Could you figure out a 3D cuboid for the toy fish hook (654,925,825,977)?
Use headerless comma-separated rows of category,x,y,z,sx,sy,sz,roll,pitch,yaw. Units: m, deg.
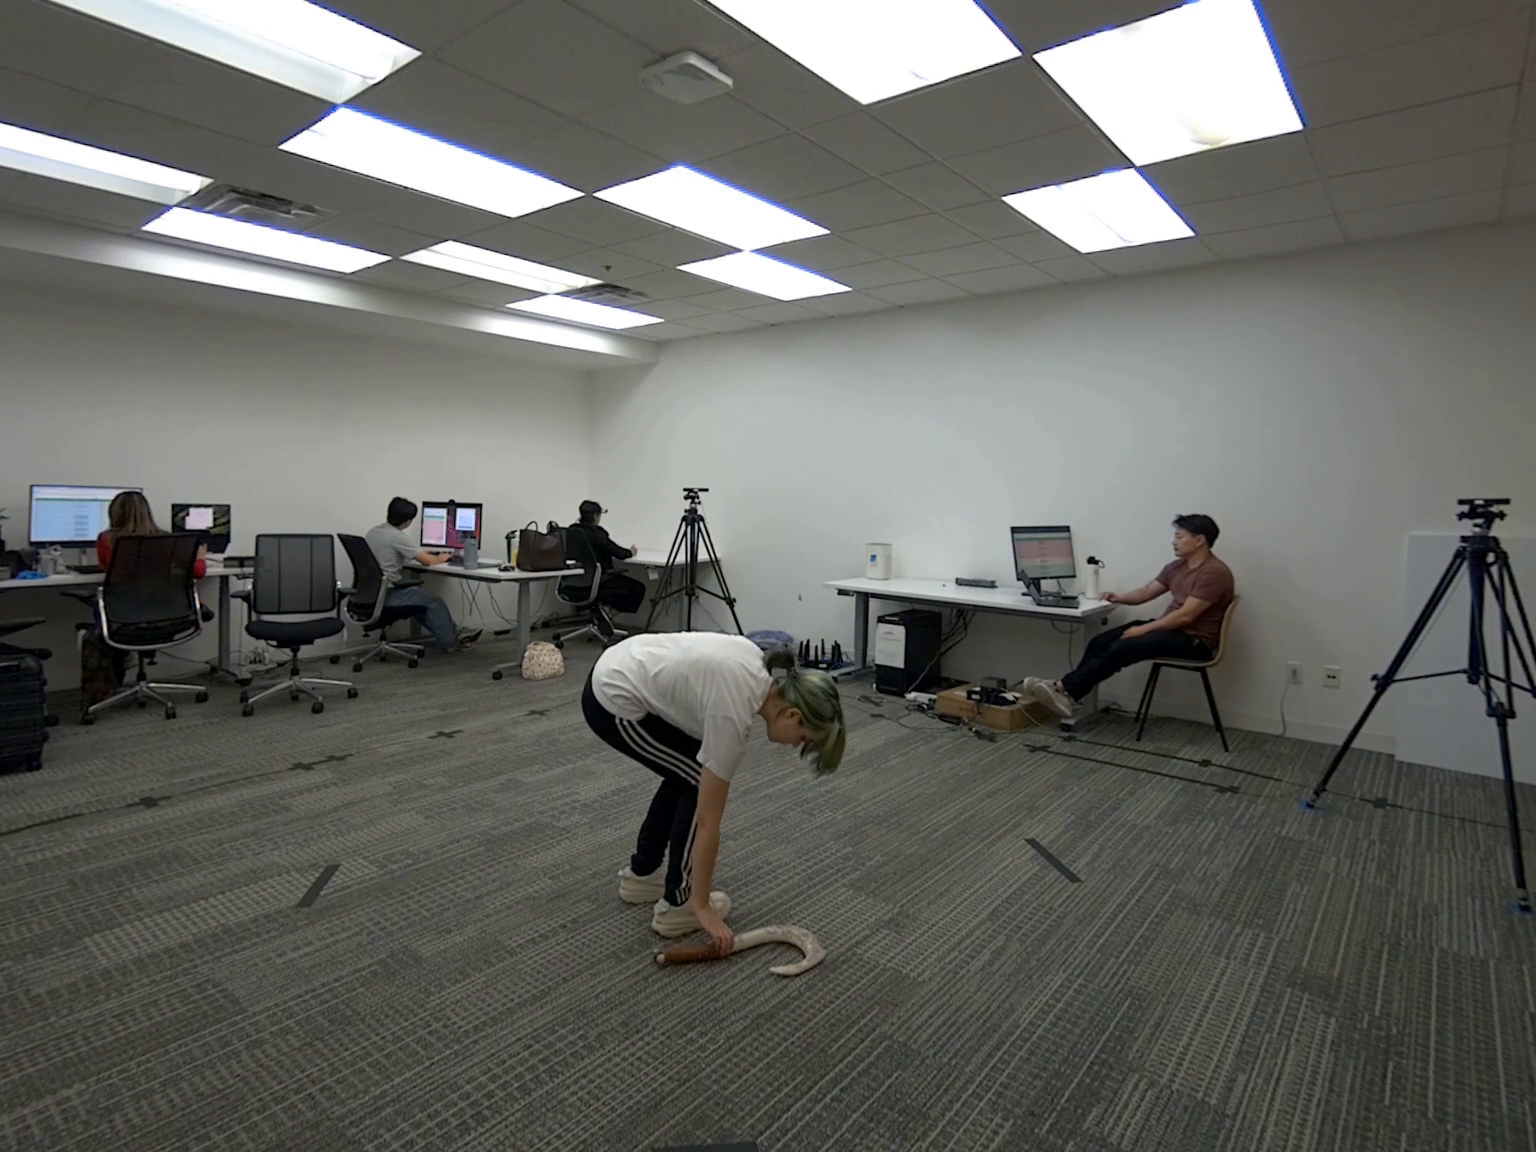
toy fish hook,-0.084,1.111,2.492,0.497,0.048,0.229,0,4,-19
